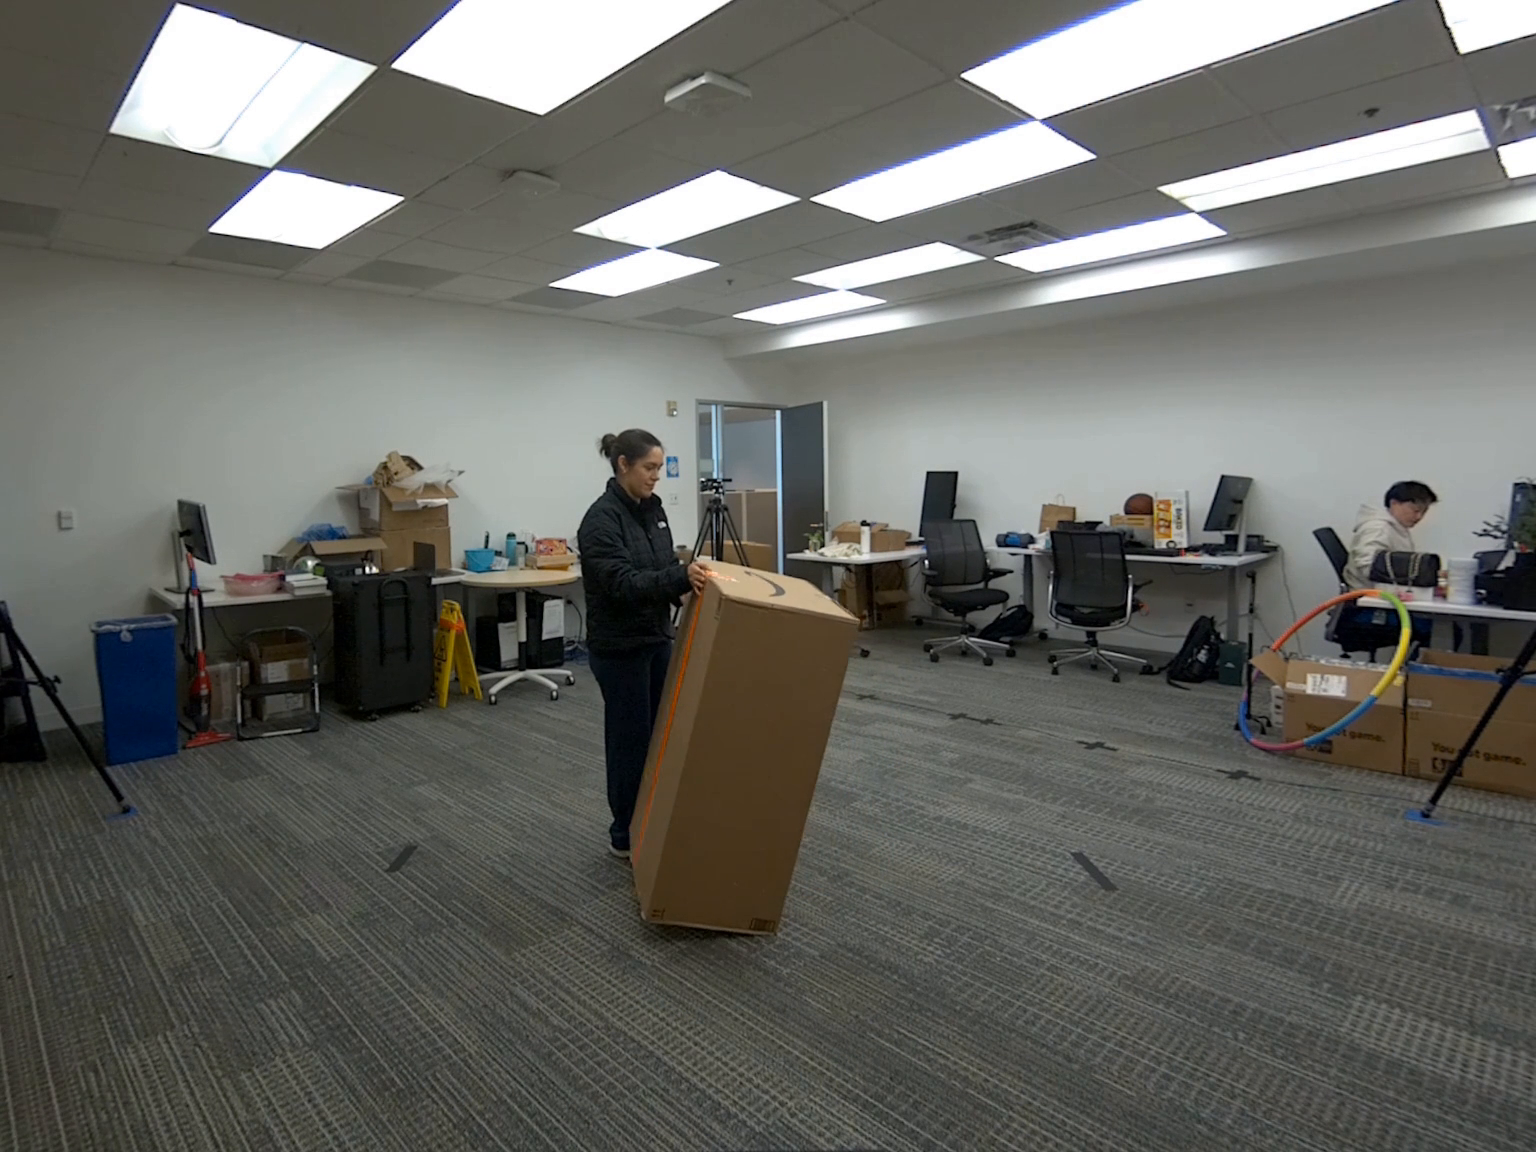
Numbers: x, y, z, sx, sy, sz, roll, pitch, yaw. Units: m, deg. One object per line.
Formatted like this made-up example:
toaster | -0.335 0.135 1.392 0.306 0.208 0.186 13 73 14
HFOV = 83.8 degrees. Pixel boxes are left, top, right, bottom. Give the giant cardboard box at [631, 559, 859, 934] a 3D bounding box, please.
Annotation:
giant cardboard box | -0.111 0.524 2.803 0.420 1.021 0.589 12 6 -14
